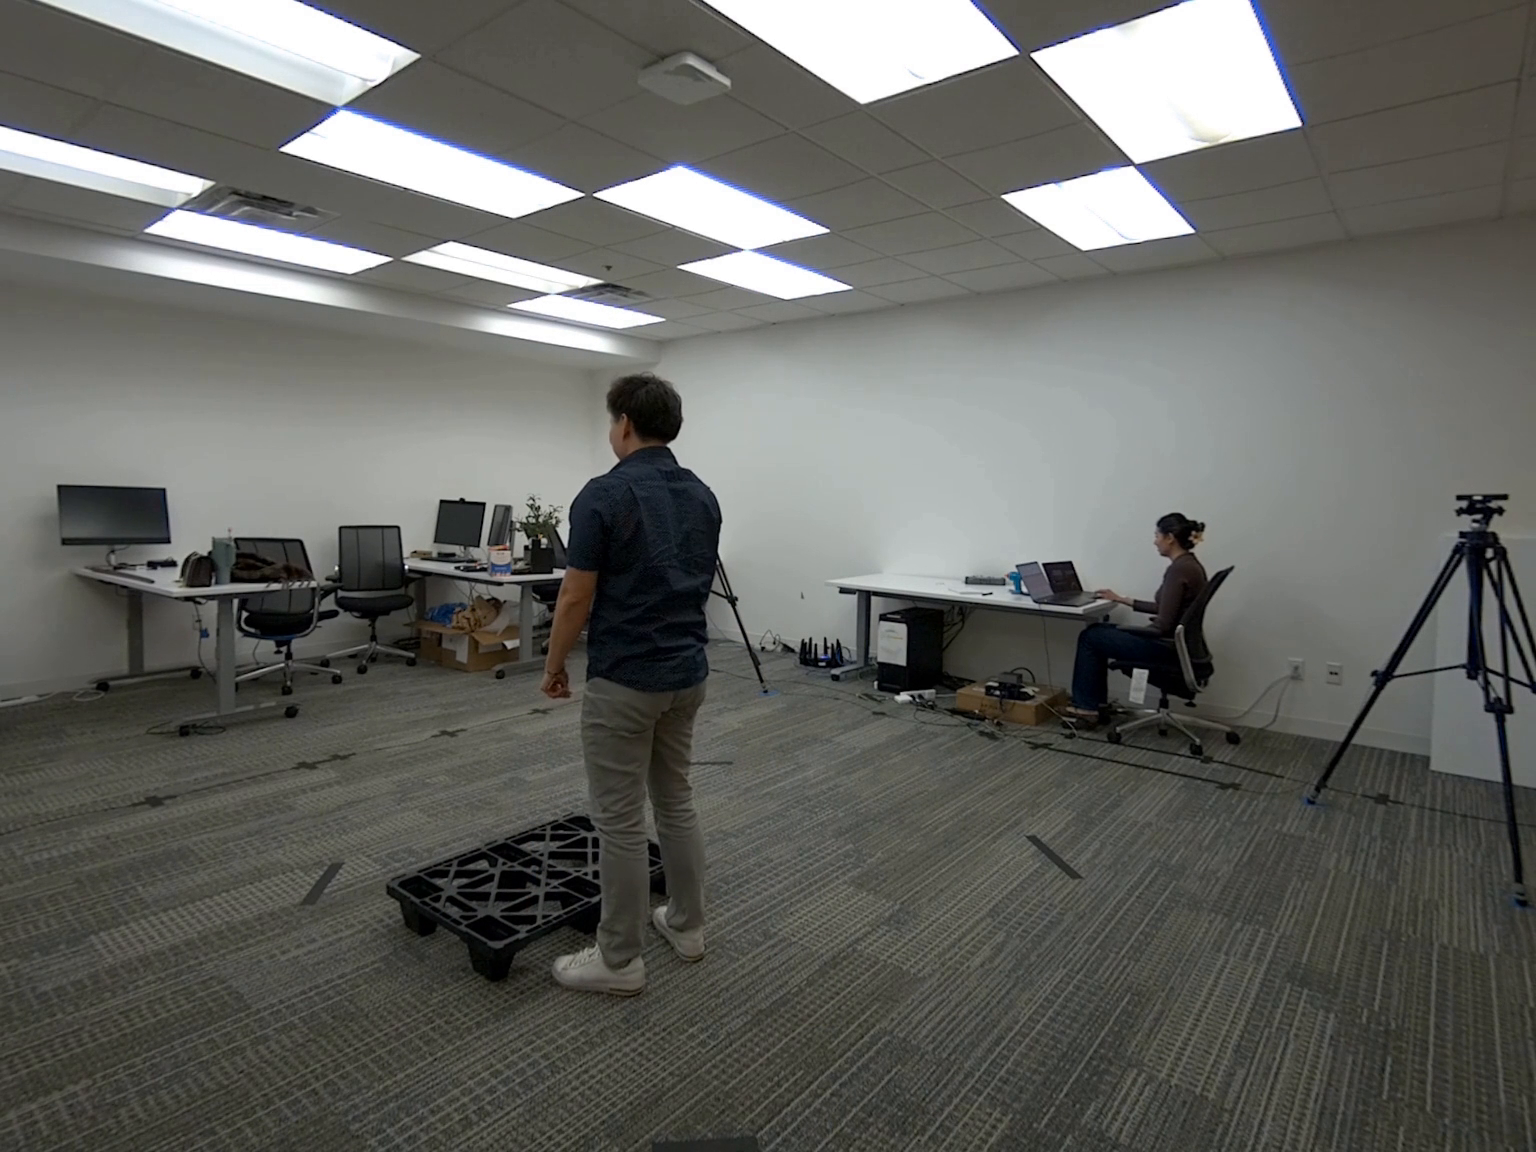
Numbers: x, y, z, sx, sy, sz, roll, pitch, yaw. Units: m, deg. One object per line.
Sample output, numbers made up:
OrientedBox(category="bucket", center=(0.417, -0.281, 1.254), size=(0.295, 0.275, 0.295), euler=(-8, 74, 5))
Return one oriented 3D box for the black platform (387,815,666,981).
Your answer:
OrientedBox(category="black platform", center=(-0.755, 1.025, 2.805), size=(0.625, 0.143, 0.782), euler=(4, 6, 38))
